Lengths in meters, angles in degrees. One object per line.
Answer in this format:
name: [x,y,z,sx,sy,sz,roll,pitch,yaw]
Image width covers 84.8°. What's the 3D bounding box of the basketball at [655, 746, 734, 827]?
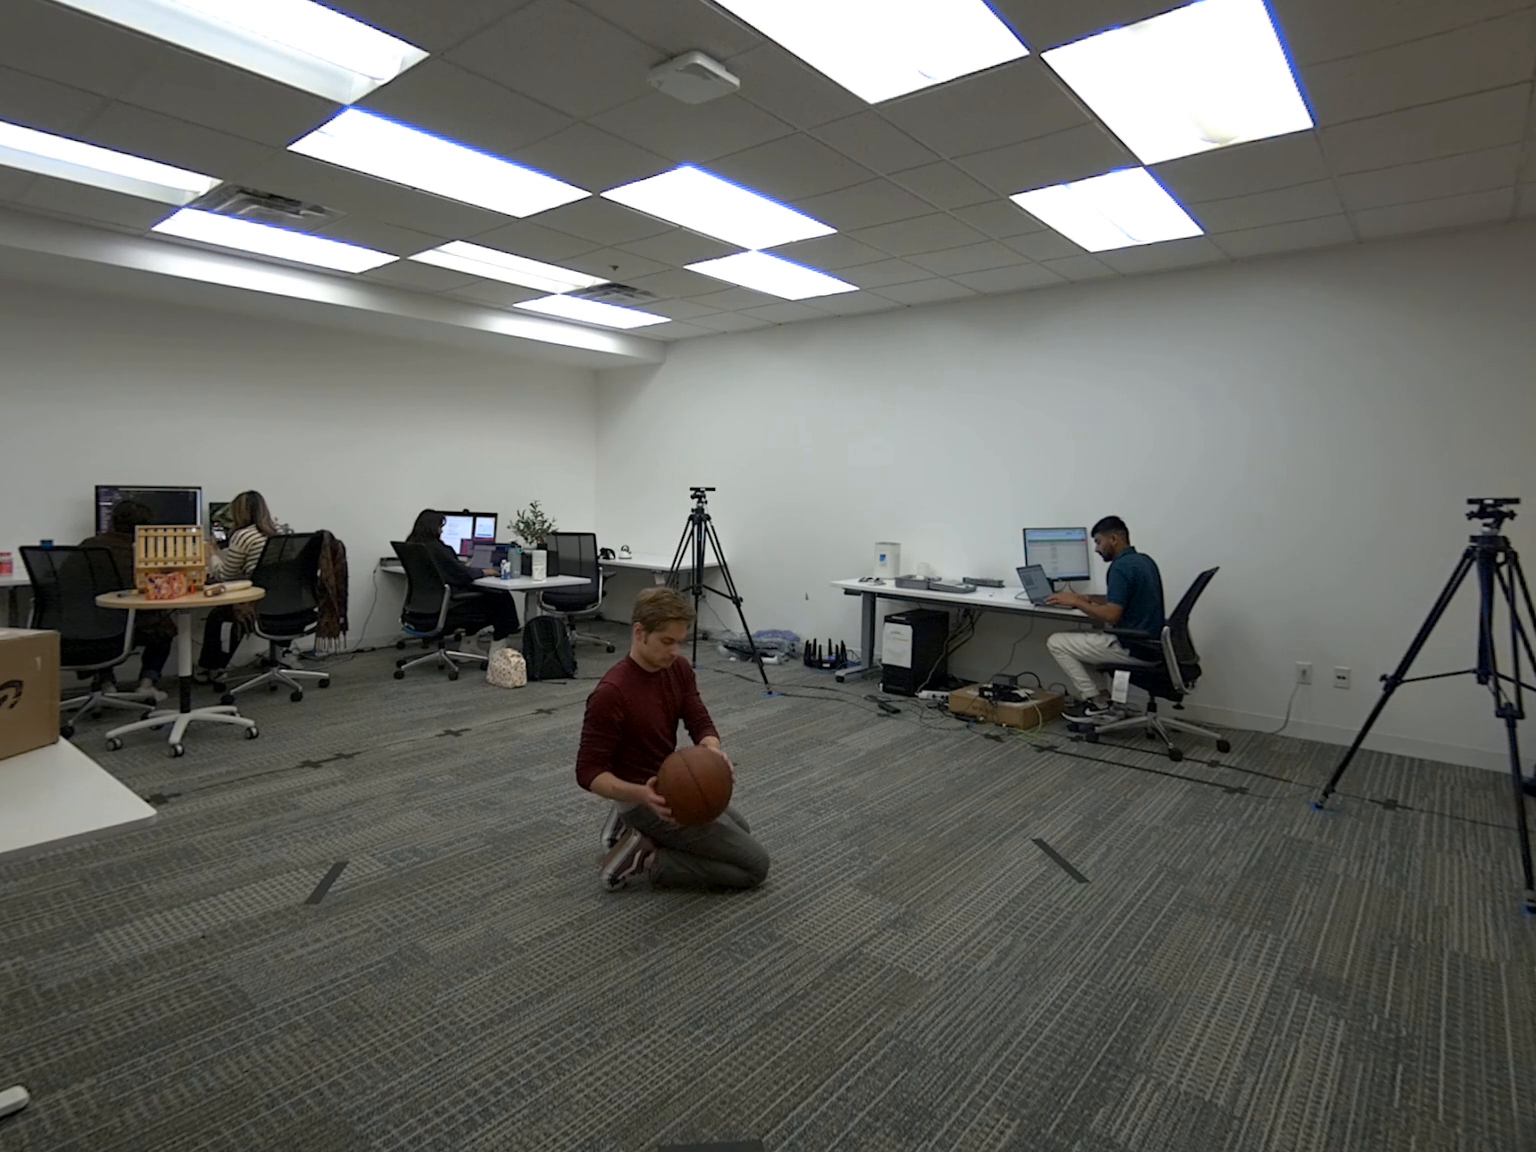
basketball: [-0.234,0.646,2.659,0.235,0.235,0.237,1,4,-2]
